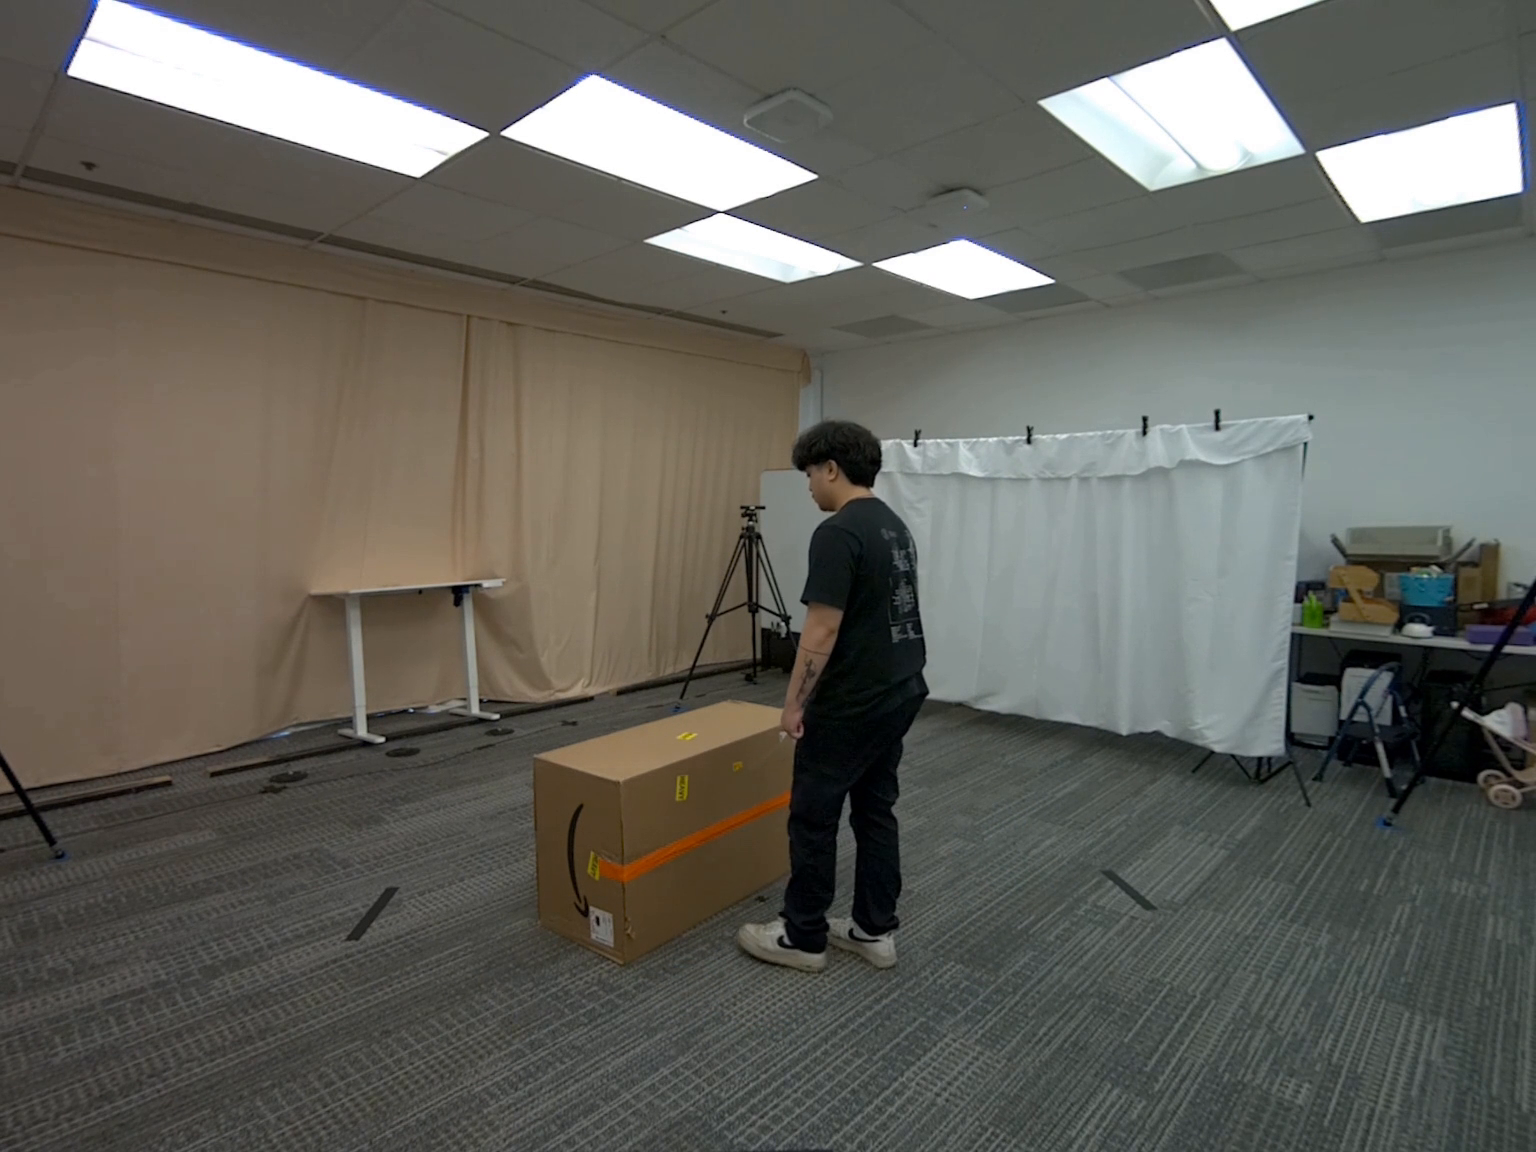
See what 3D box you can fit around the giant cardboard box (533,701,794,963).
[{"bbox_3d":[-0.299,0.856,3.051,0.461,0.582,0.997,4,6,39],"label":"giant cardboard box"}]
